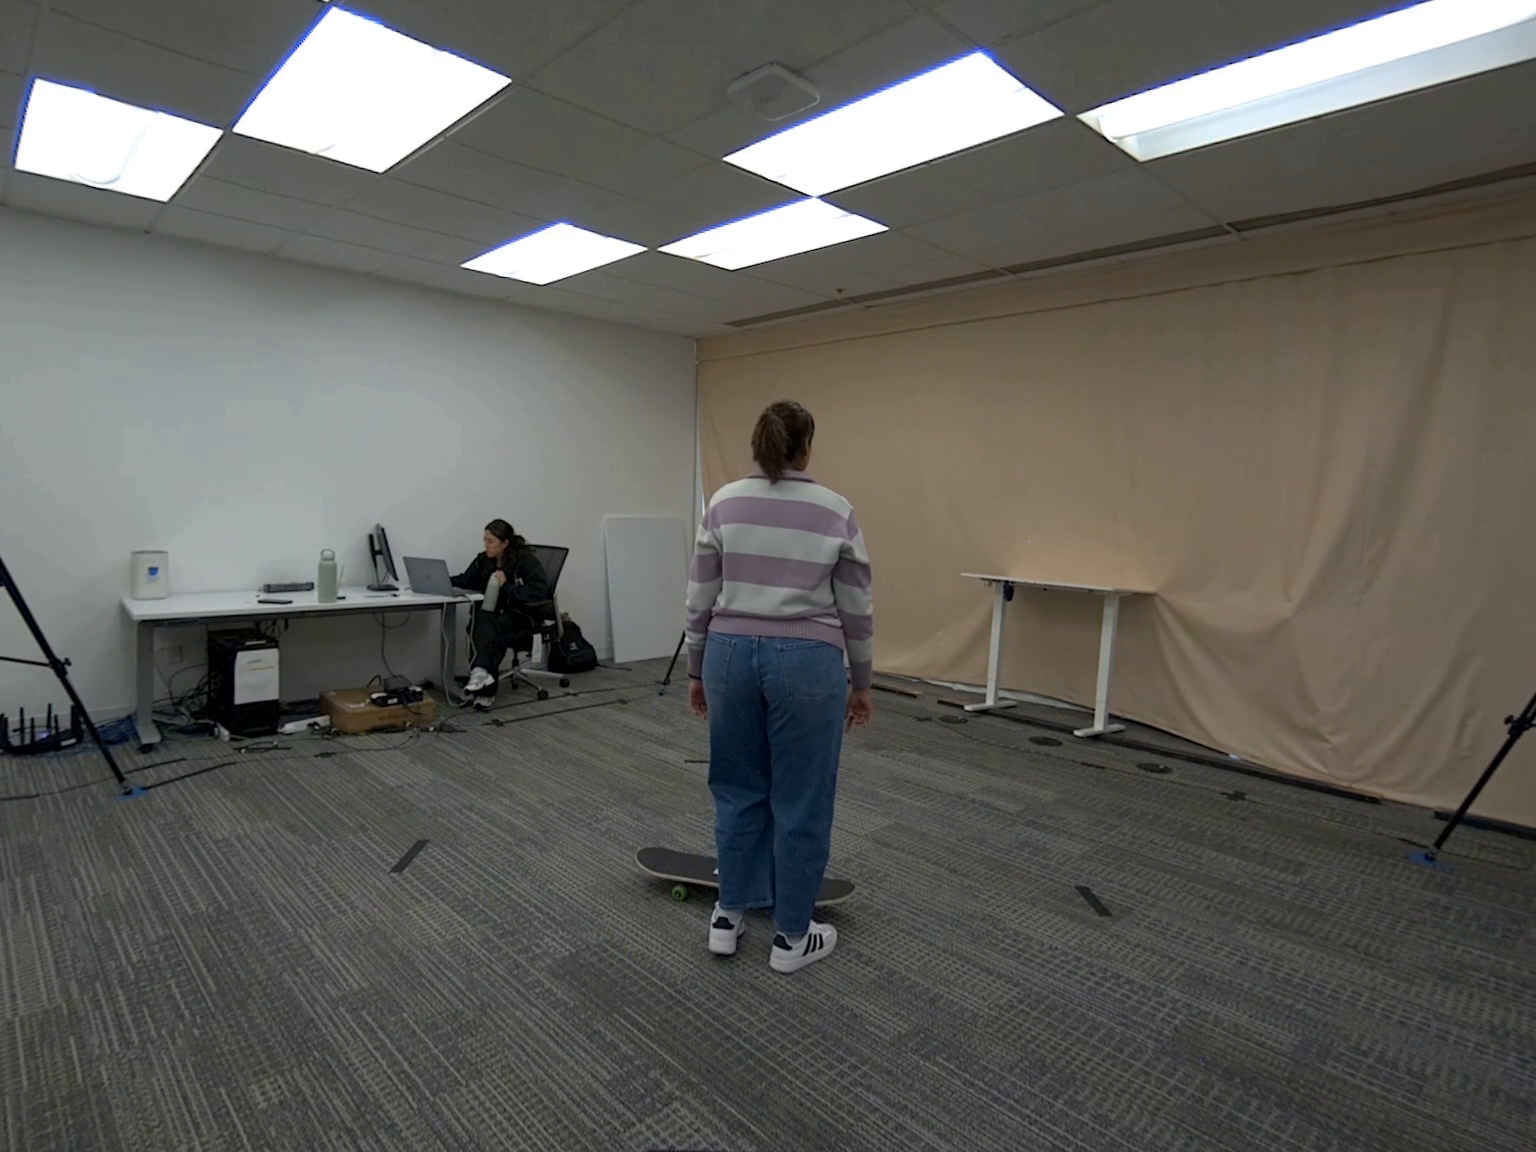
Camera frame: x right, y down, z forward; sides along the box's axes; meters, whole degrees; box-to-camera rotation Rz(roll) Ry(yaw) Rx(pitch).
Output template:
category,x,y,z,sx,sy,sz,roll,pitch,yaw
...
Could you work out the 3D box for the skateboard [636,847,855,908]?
category,x,y,z,sx,sy,sz,roll,pitch,yaw
skateboard,-0.098,1.065,2.903,0.797,0.110,0.191,3,5,19
